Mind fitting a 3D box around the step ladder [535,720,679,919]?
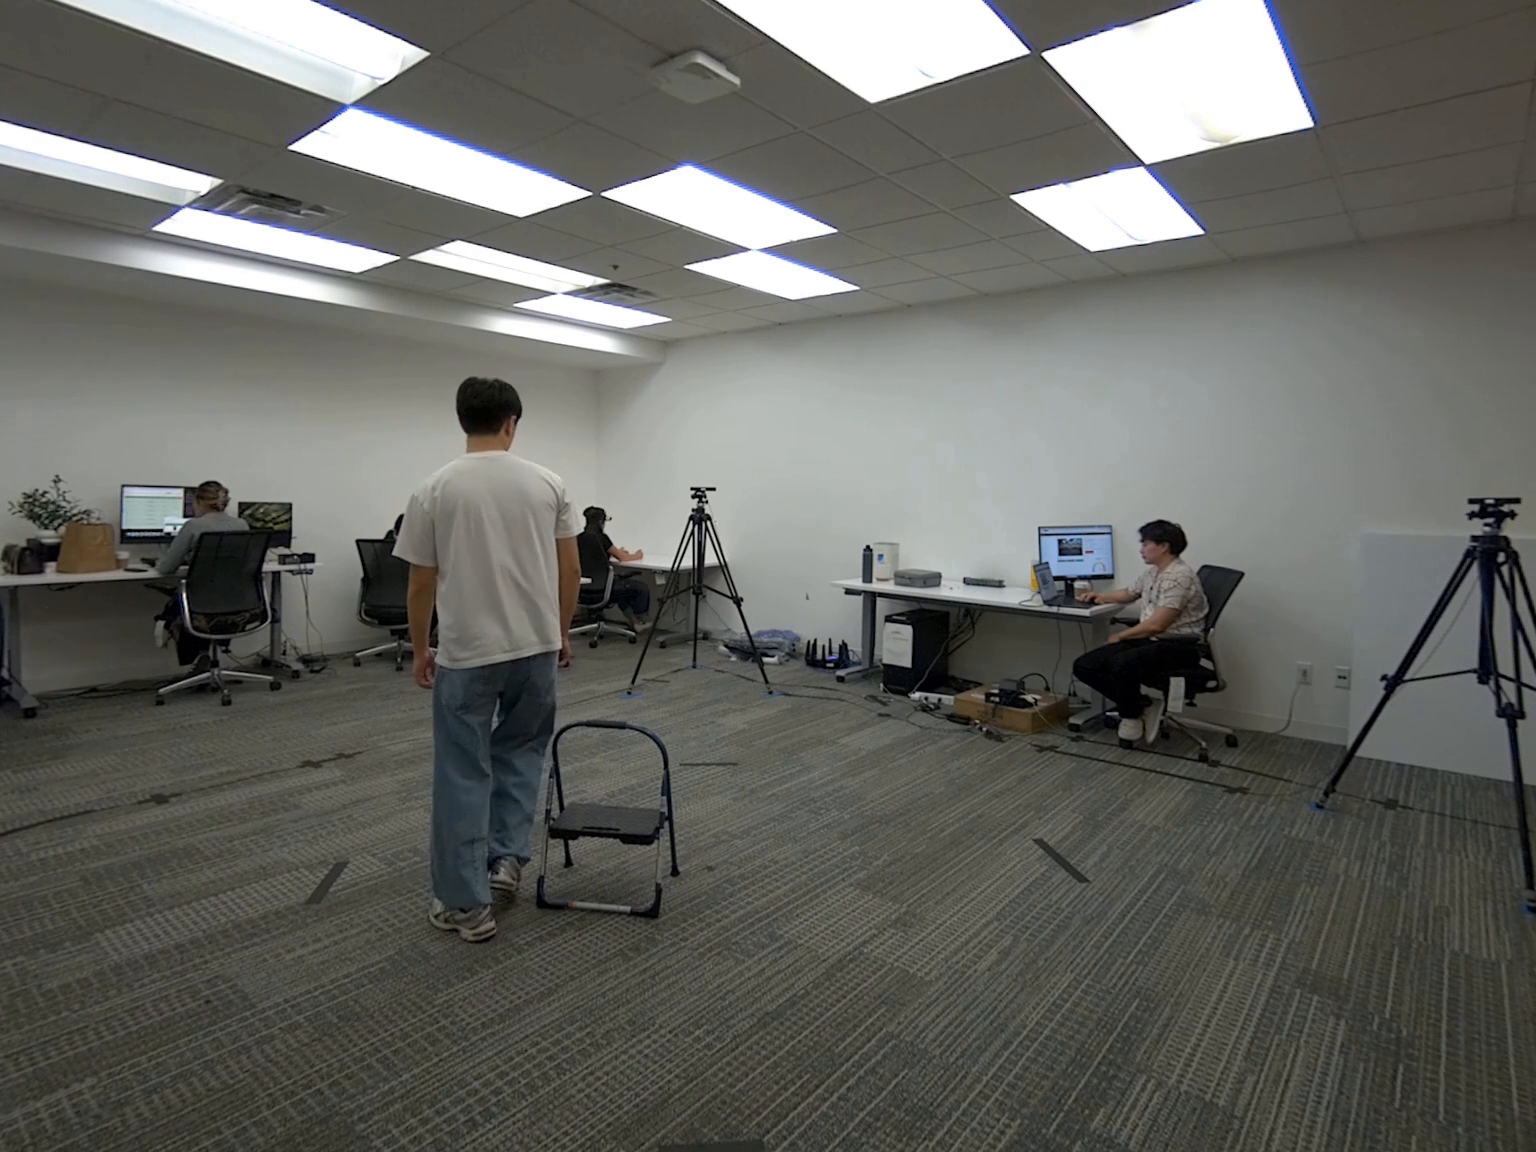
[{"bbox_3d":[-0.546,0.781,2.908,0.434,0.605,0.348,1,3,5],"label":"step ladder"}]
